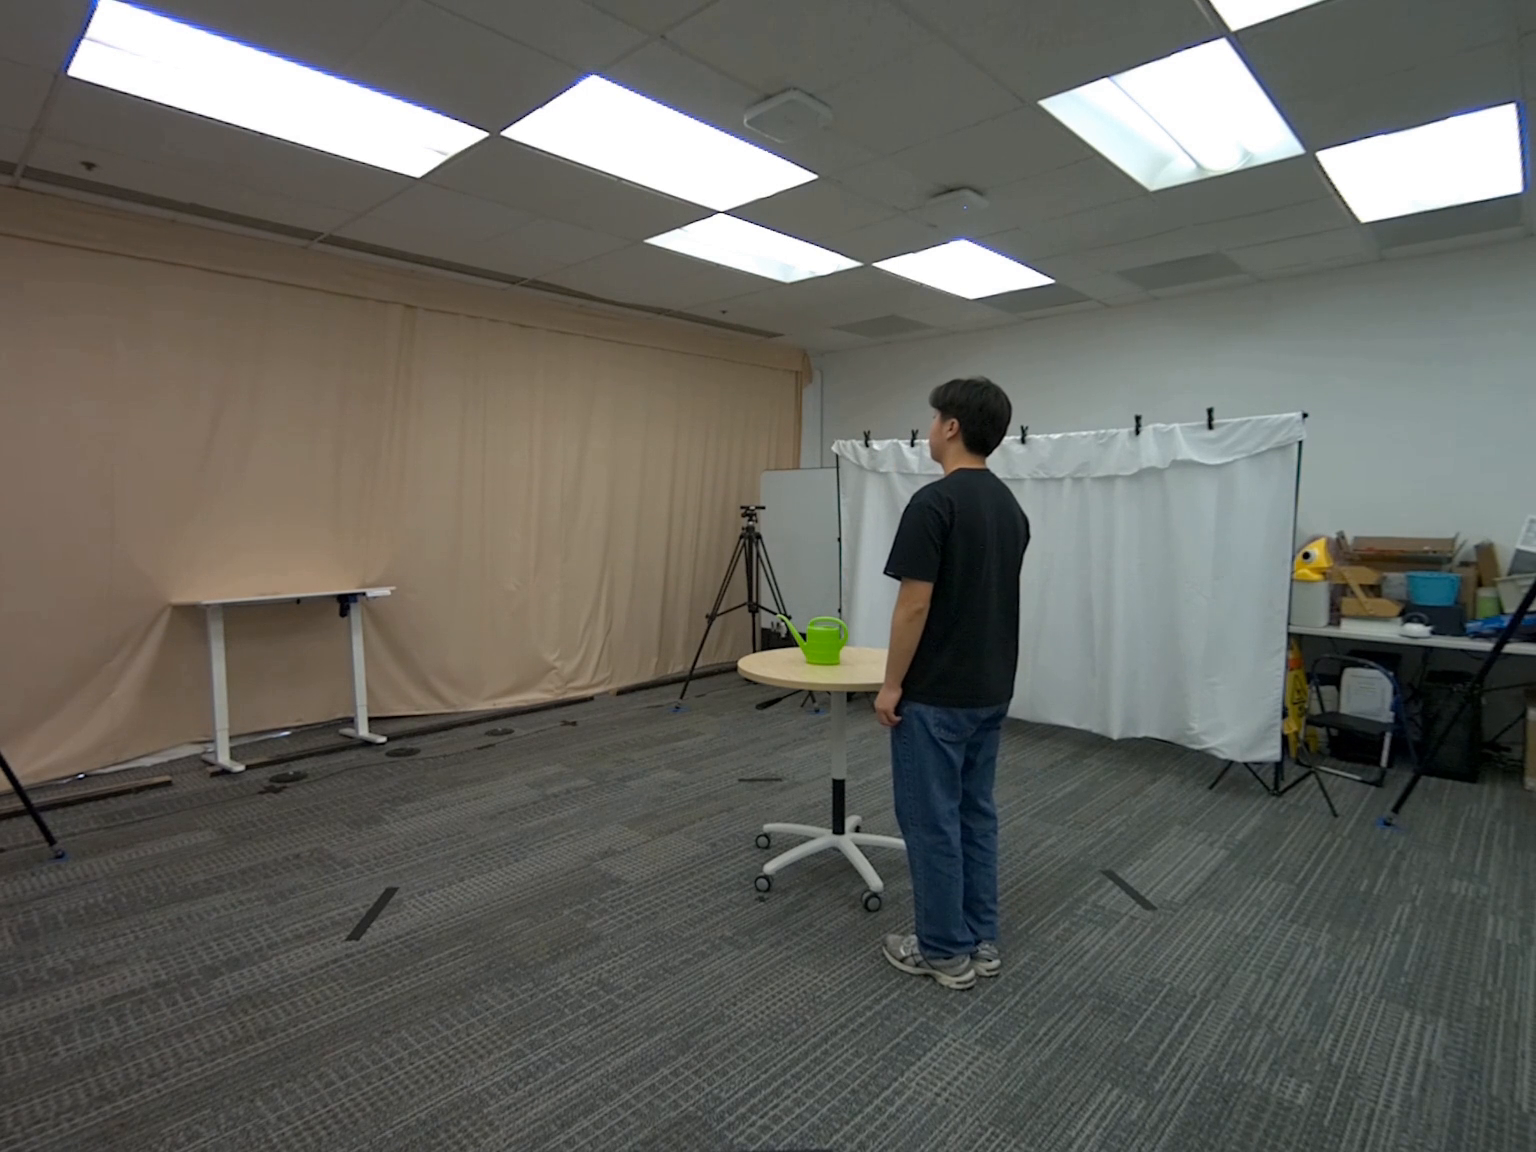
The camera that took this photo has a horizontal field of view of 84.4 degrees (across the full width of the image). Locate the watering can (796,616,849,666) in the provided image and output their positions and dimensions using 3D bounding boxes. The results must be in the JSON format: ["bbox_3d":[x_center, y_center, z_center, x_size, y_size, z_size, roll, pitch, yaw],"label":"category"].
[{"bbox_3d":[0.178,0.240,3.208,0.287,0.176,0.095,4,4,31],"label":"watering can"}]
